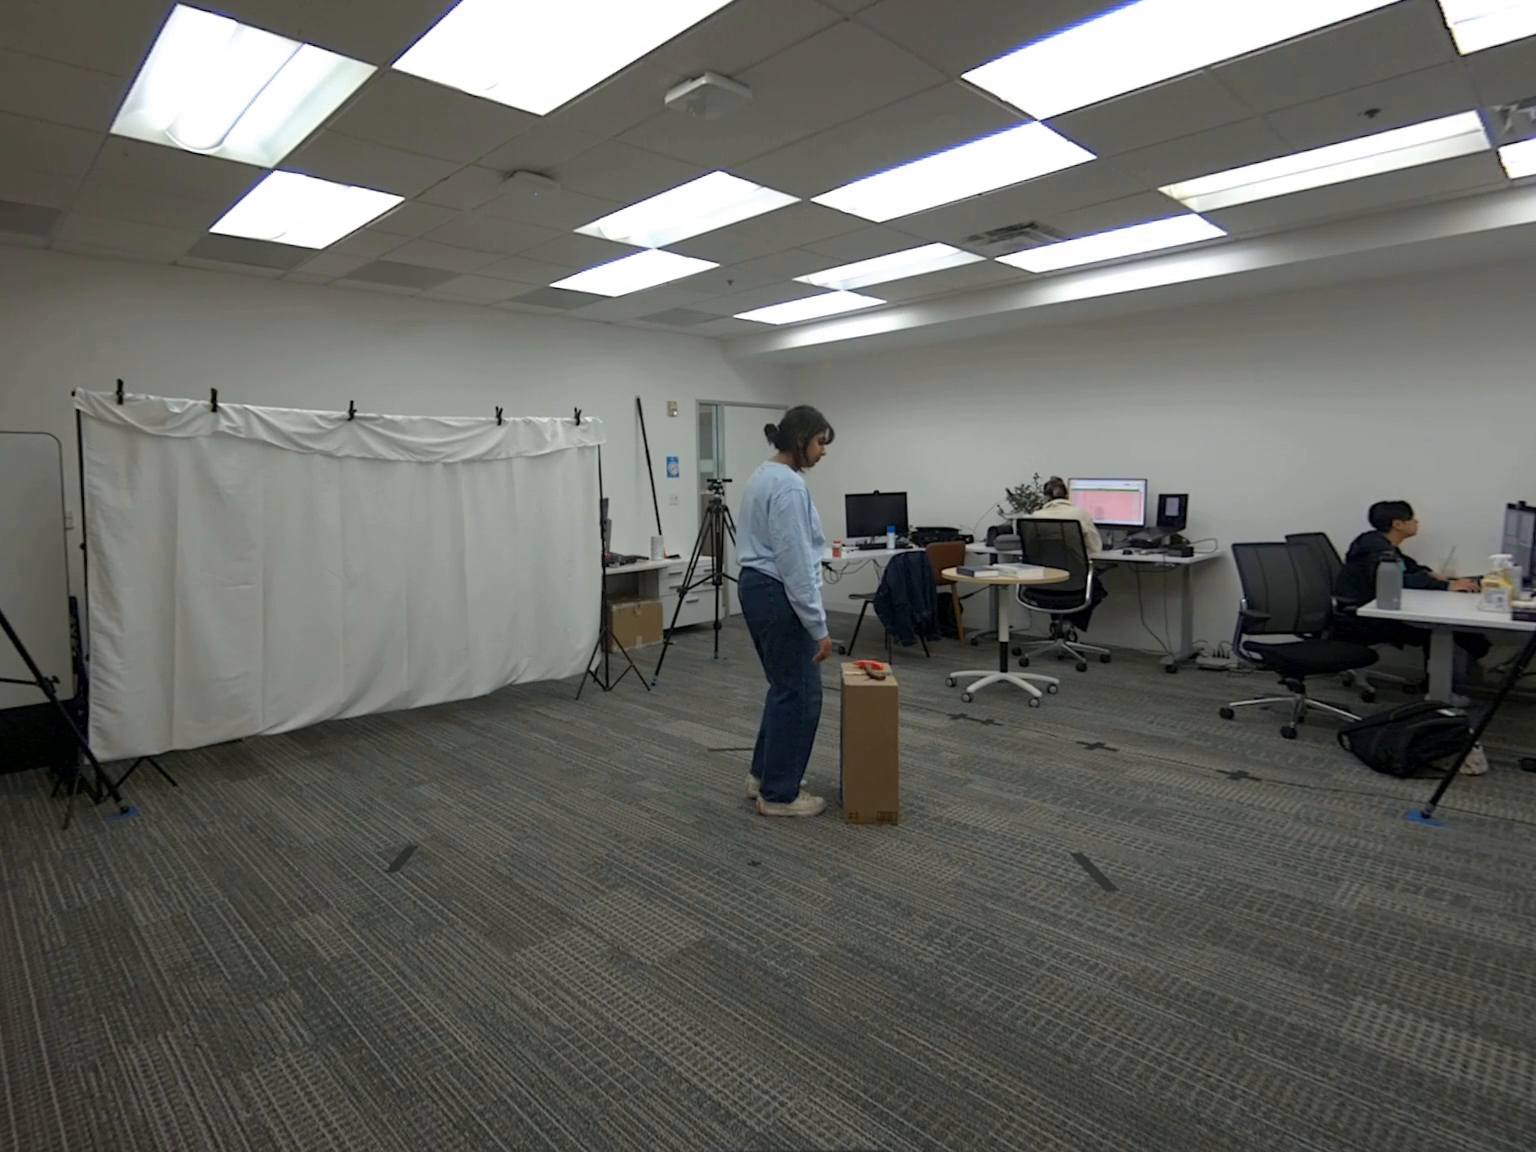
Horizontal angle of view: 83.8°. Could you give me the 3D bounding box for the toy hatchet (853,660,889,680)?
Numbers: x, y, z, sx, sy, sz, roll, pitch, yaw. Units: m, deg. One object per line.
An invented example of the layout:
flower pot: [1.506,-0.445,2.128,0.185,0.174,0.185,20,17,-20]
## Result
toy hatchet: [0.466,0.400,3.618,0.129,0.029,0.275,3,7,-16]
